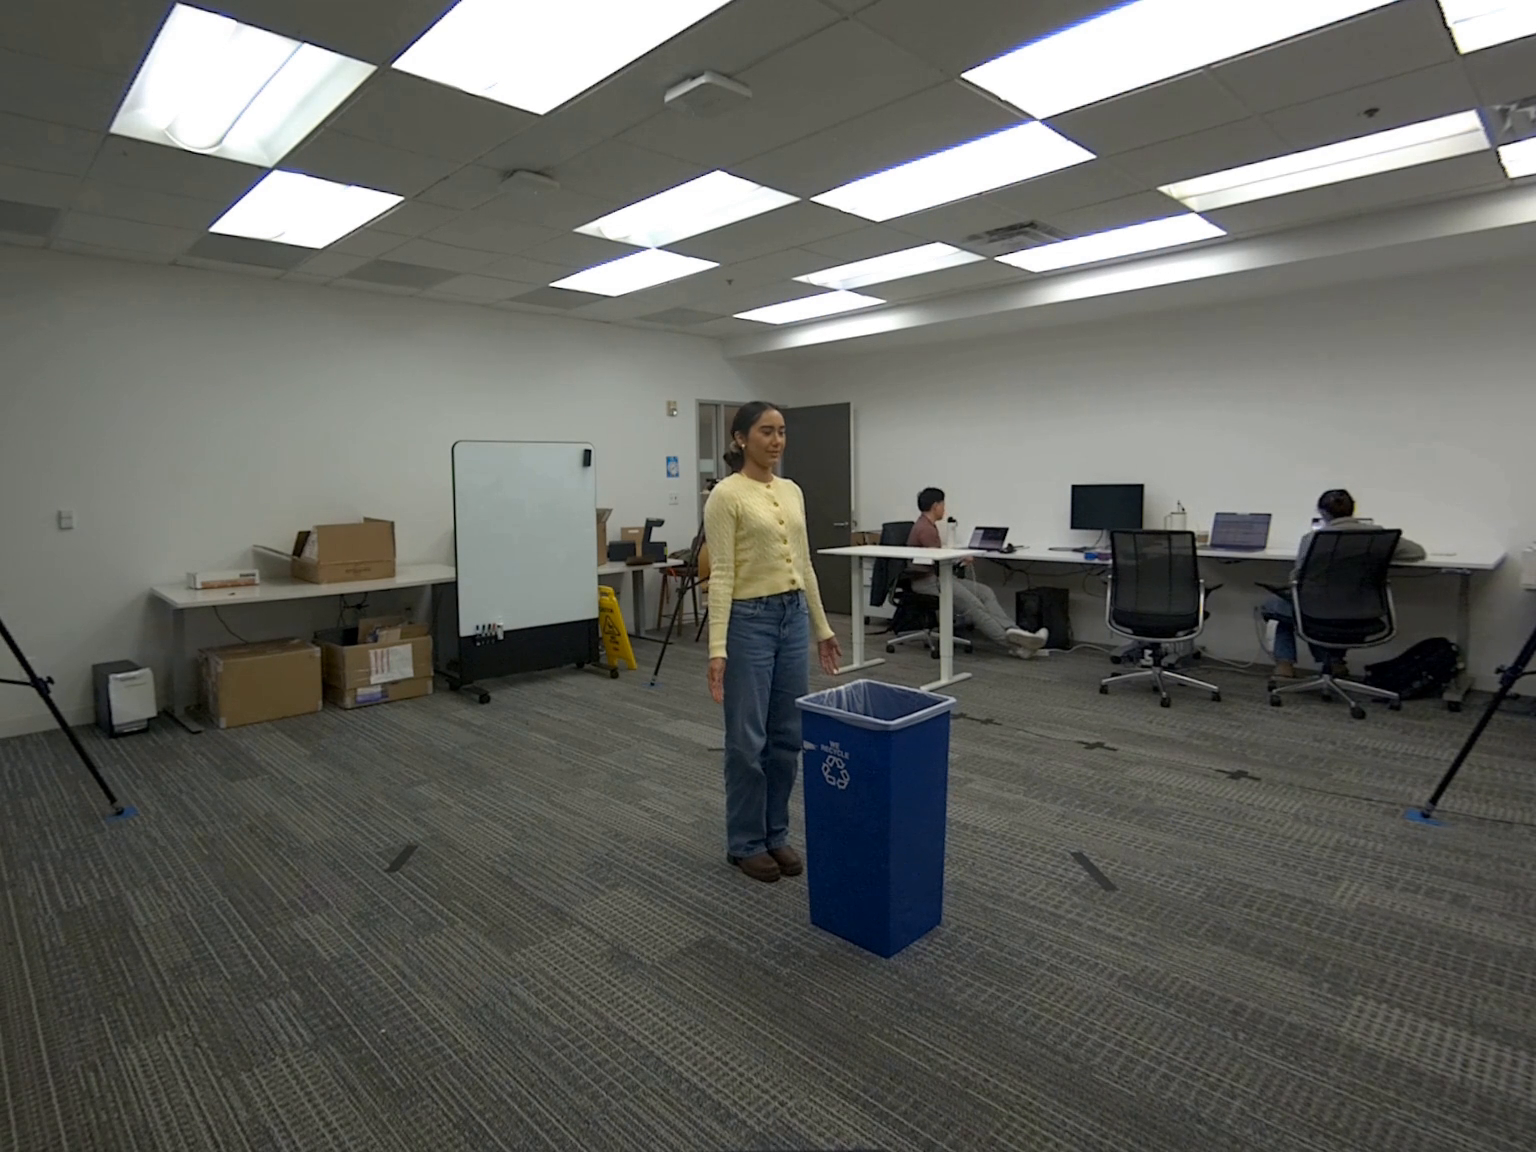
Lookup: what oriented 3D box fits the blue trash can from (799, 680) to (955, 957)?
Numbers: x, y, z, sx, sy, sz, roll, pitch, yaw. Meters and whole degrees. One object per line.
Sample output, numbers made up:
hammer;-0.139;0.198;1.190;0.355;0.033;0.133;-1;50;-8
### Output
blue trash can;0.346;0.733;2.650;0.385;0.711;0.368;3;6;44
